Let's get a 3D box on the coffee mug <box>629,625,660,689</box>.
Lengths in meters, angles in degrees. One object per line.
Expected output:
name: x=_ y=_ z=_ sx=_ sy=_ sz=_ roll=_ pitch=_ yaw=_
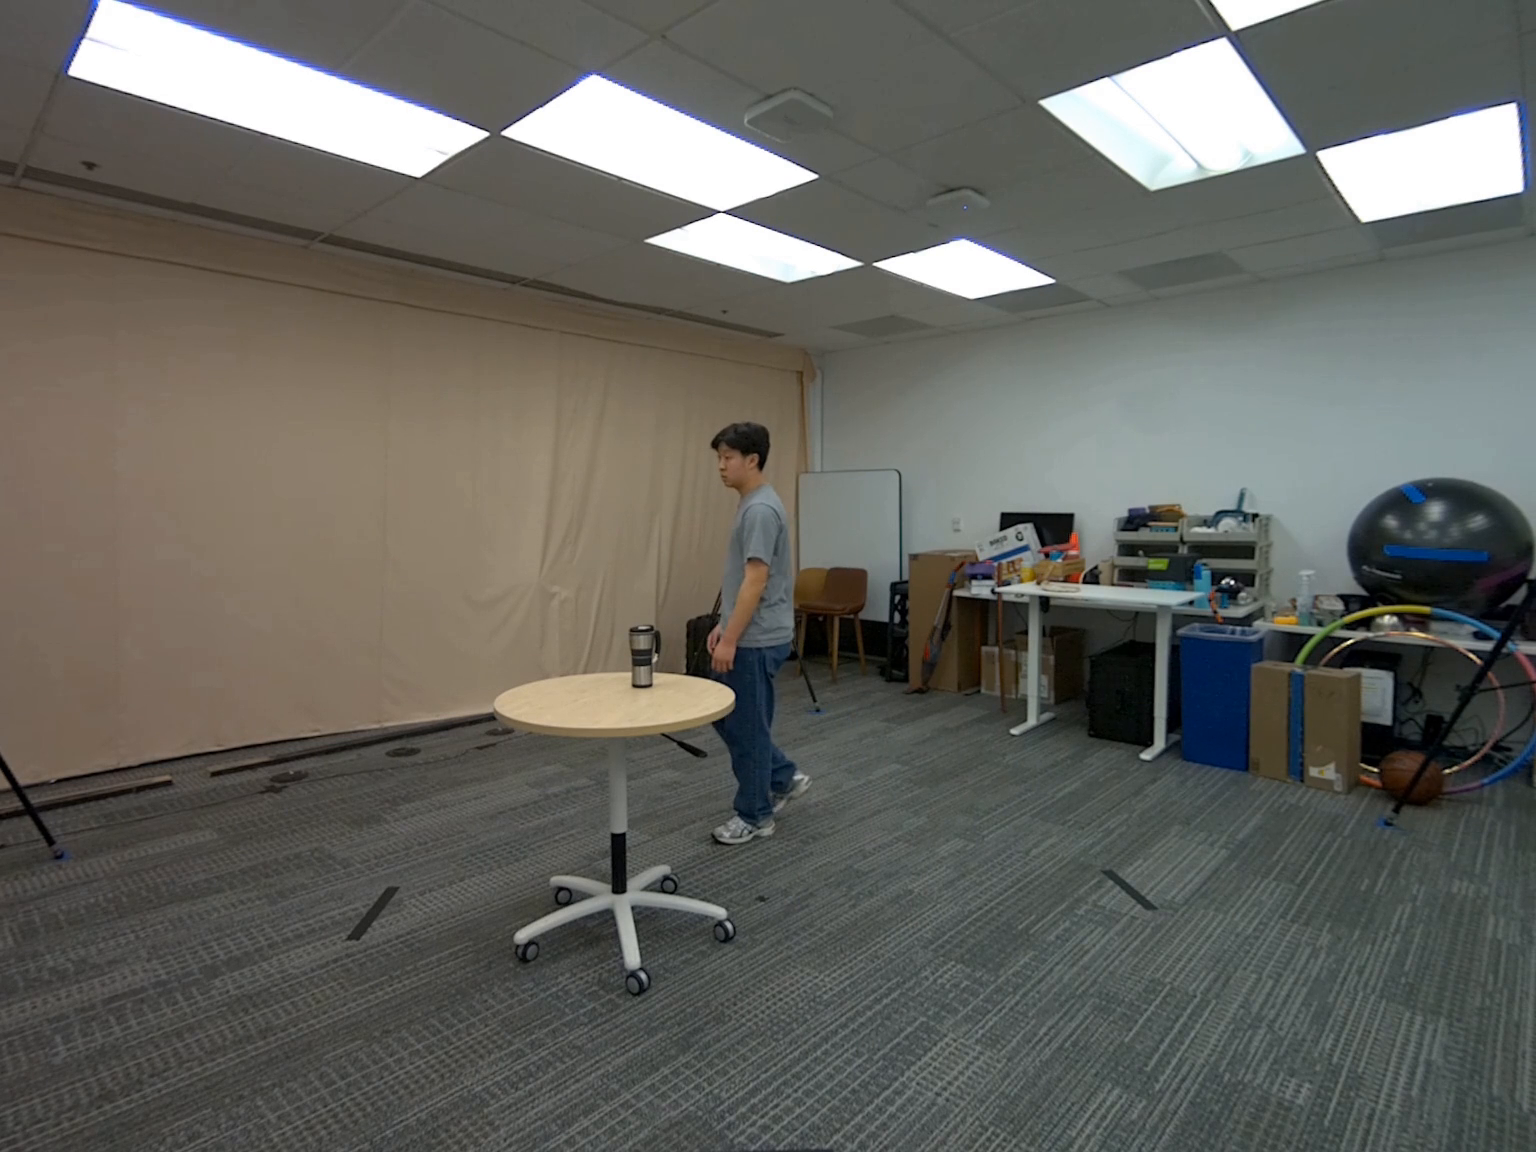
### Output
coffee mug: x=-0.407 y=0.274 z=2.857 sx=0.119 sy=0.203 sz=0.090 roll=-6 pitch=1 yaw=-28
